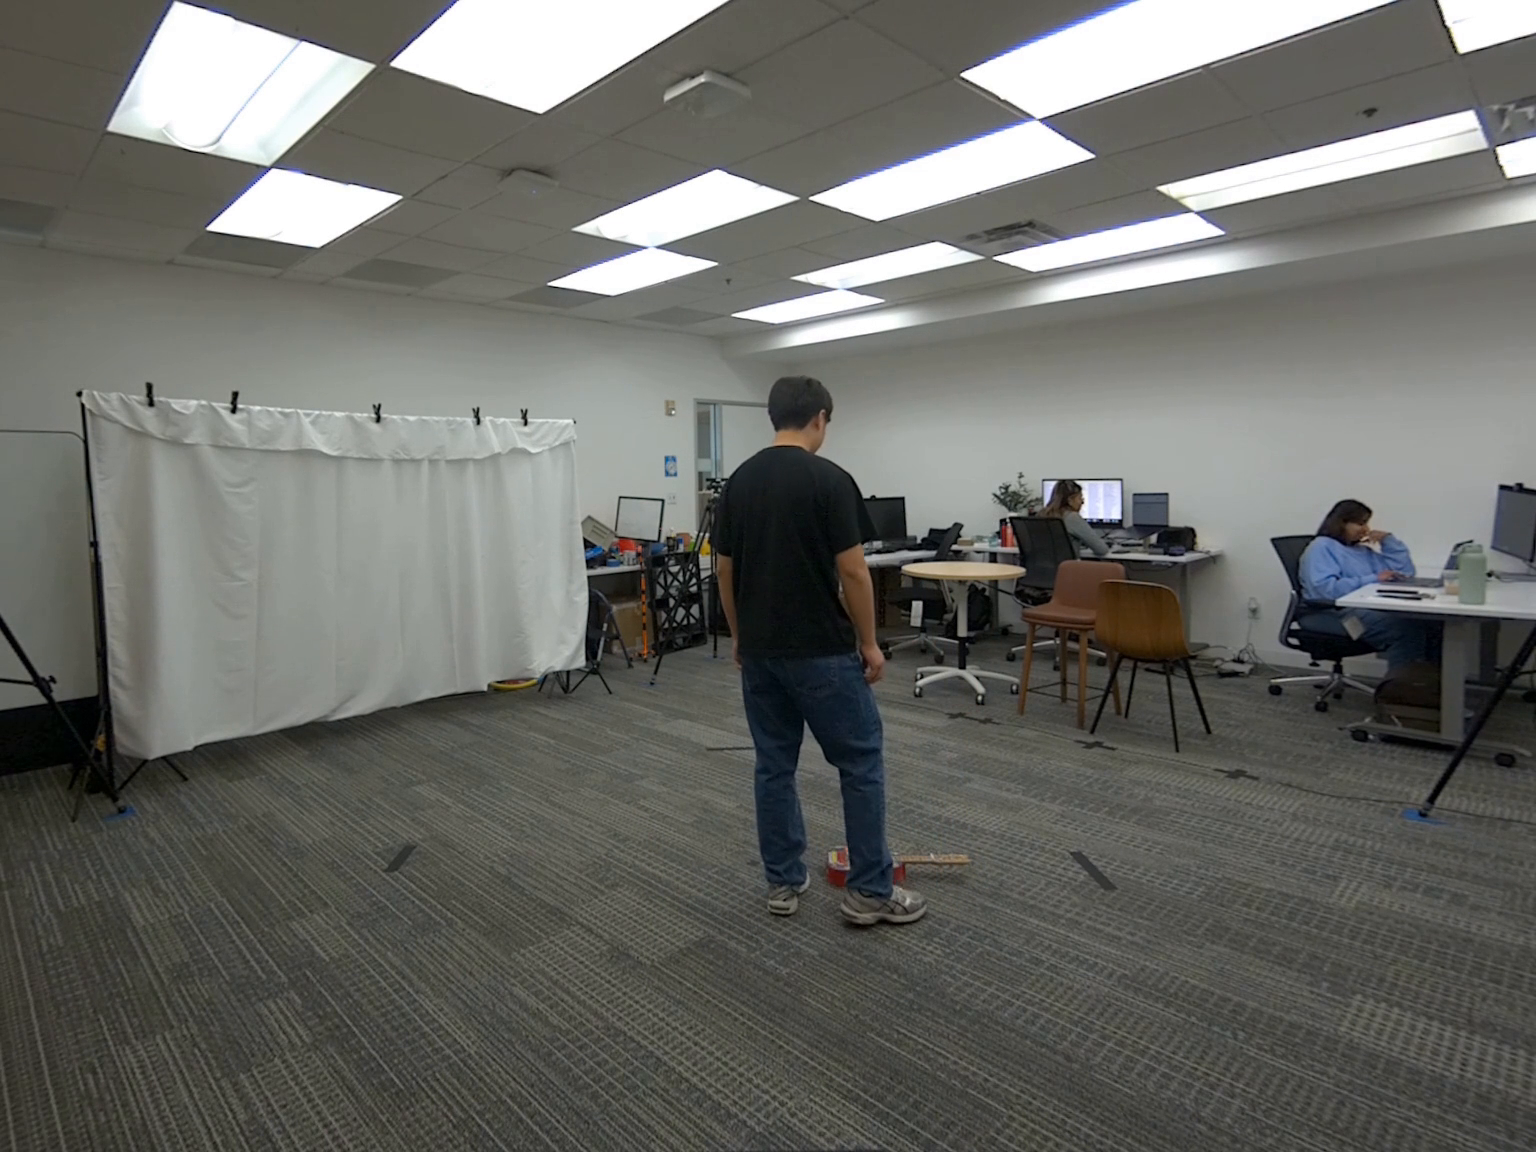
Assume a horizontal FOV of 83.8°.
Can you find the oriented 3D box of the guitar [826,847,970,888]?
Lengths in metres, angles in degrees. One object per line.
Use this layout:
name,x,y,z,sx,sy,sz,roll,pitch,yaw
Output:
guitar,0.453,1.014,2.962,0.504,0.070,0.191,-1,5,12
